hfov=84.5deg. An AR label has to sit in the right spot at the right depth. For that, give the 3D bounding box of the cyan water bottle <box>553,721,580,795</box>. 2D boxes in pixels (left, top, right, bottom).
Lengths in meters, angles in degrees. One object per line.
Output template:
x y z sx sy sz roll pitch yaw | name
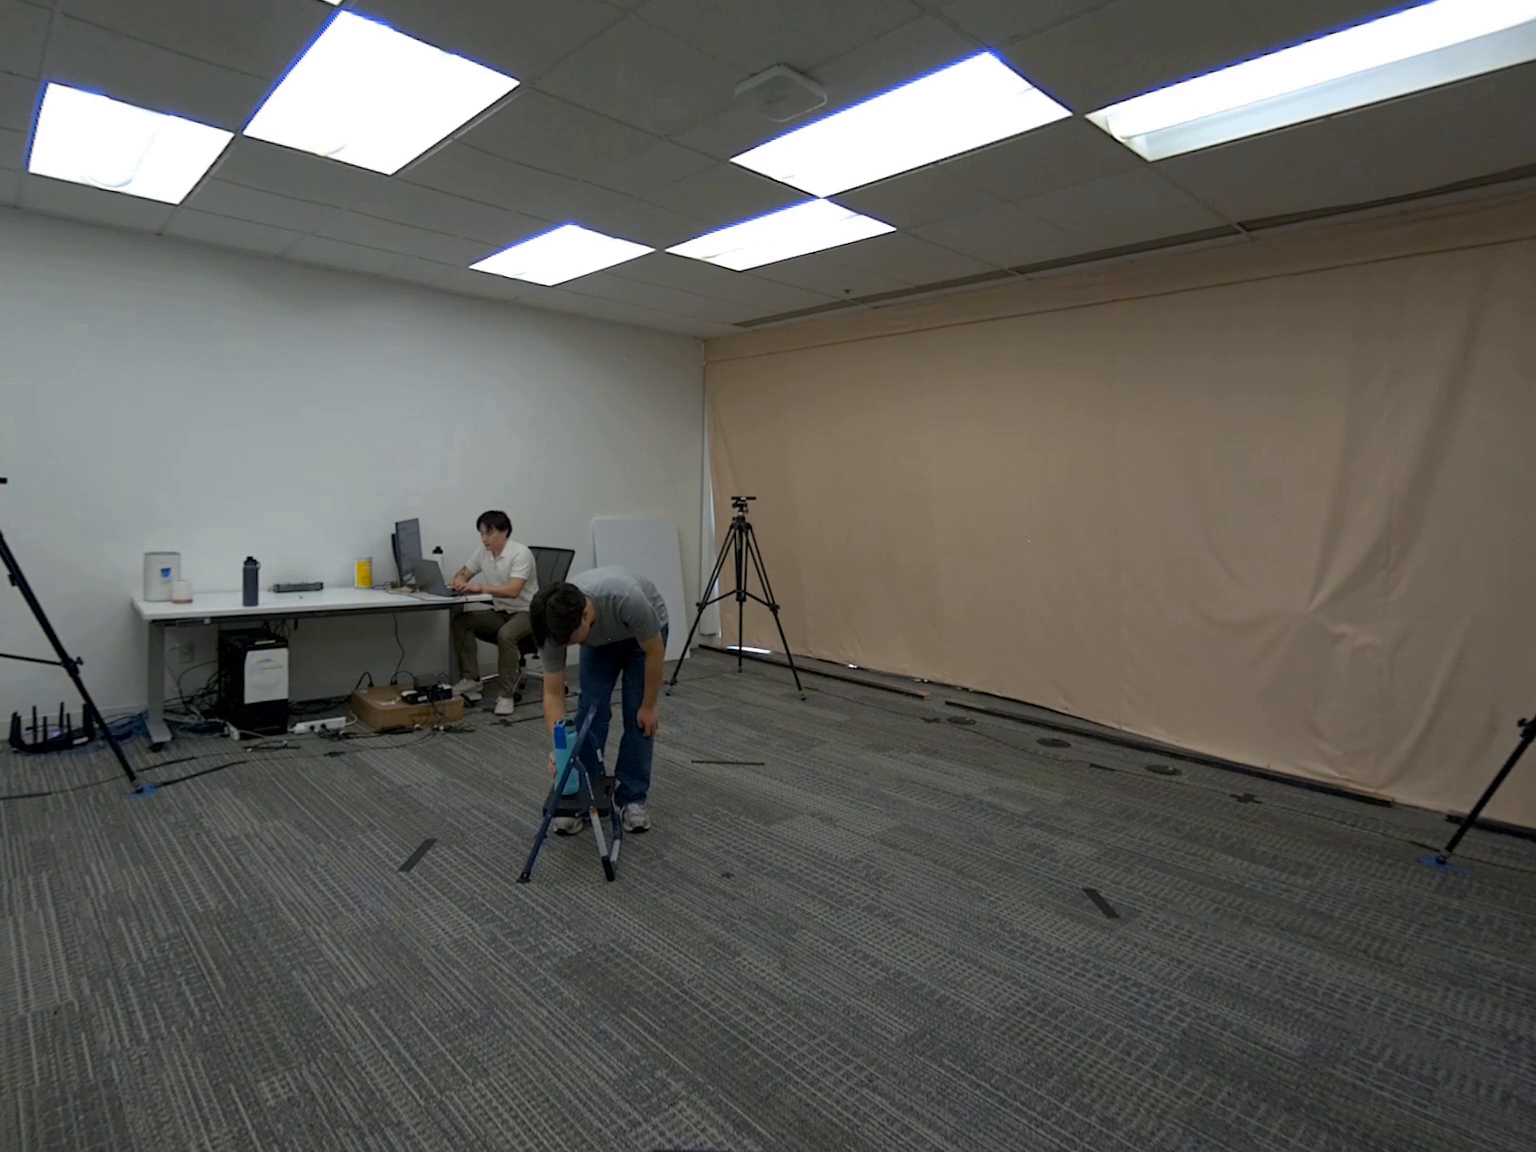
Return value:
-0.773 0.660 3.134 0.092 0.282 0.093 -1 6 -1 | cyan water bottle
